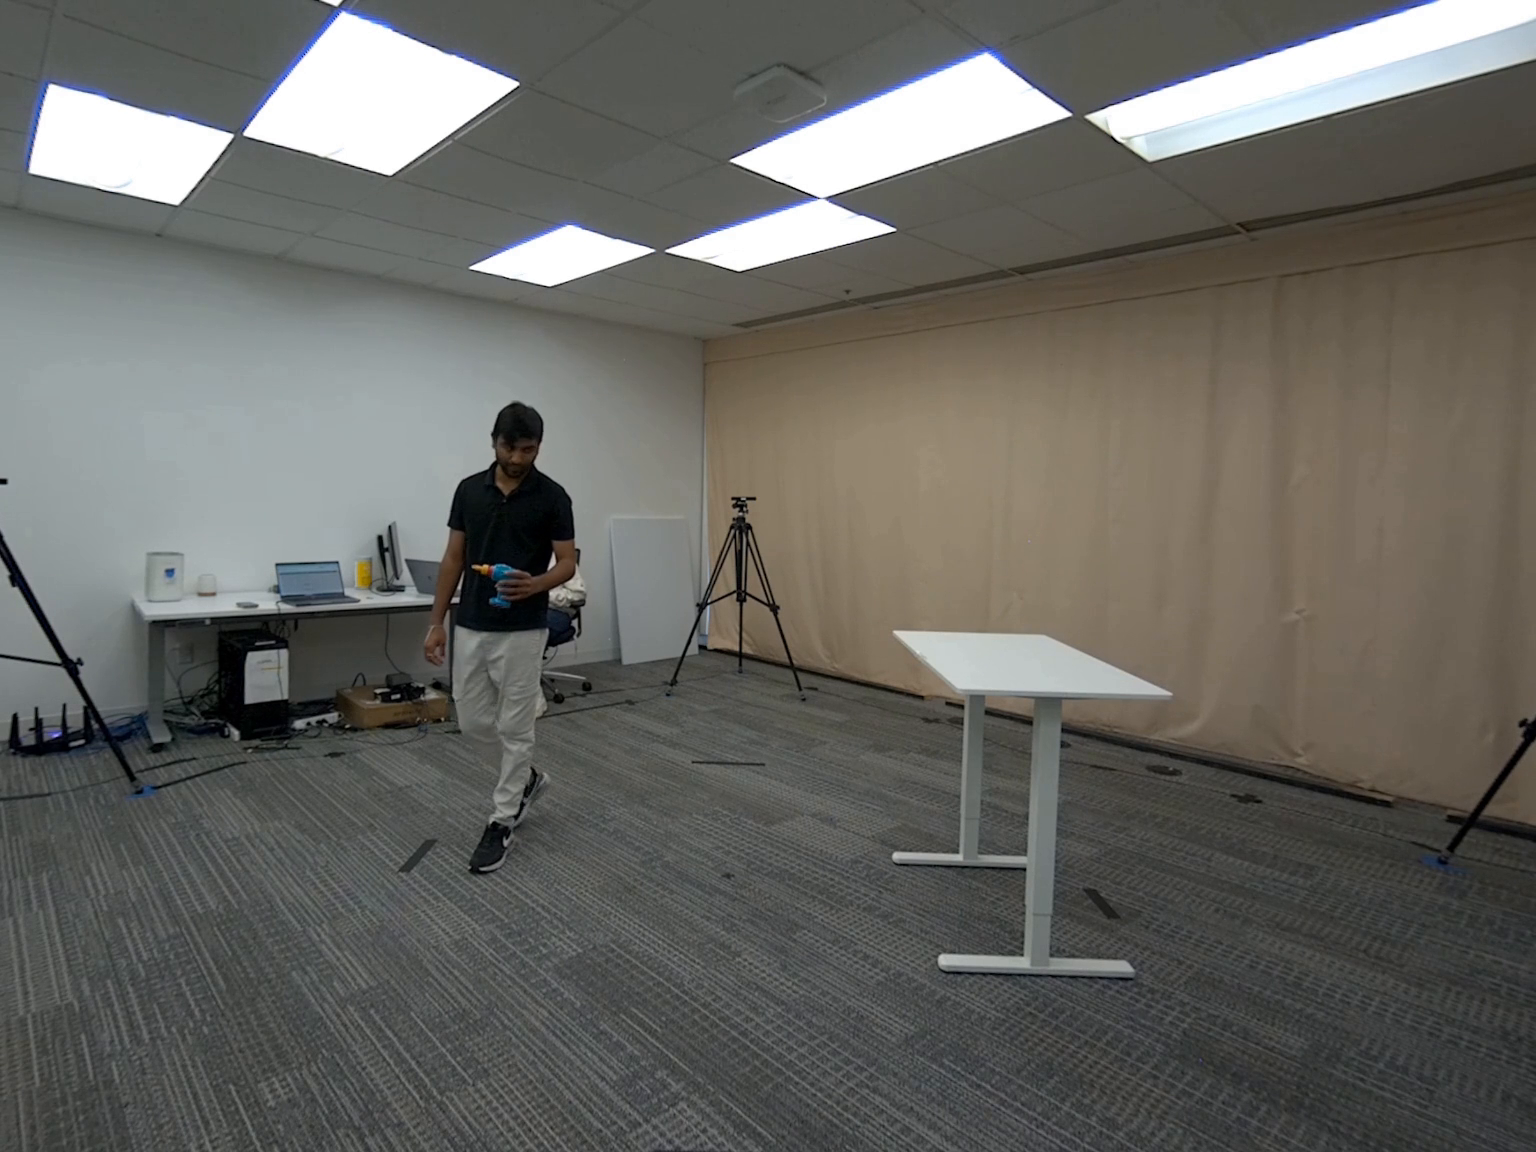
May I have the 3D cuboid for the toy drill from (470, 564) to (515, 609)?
[{"bbox_3d":[-0.967,0.021,2.930,0.167,0.145,0.062,12,16,-17],"label":"toy drill"}]
